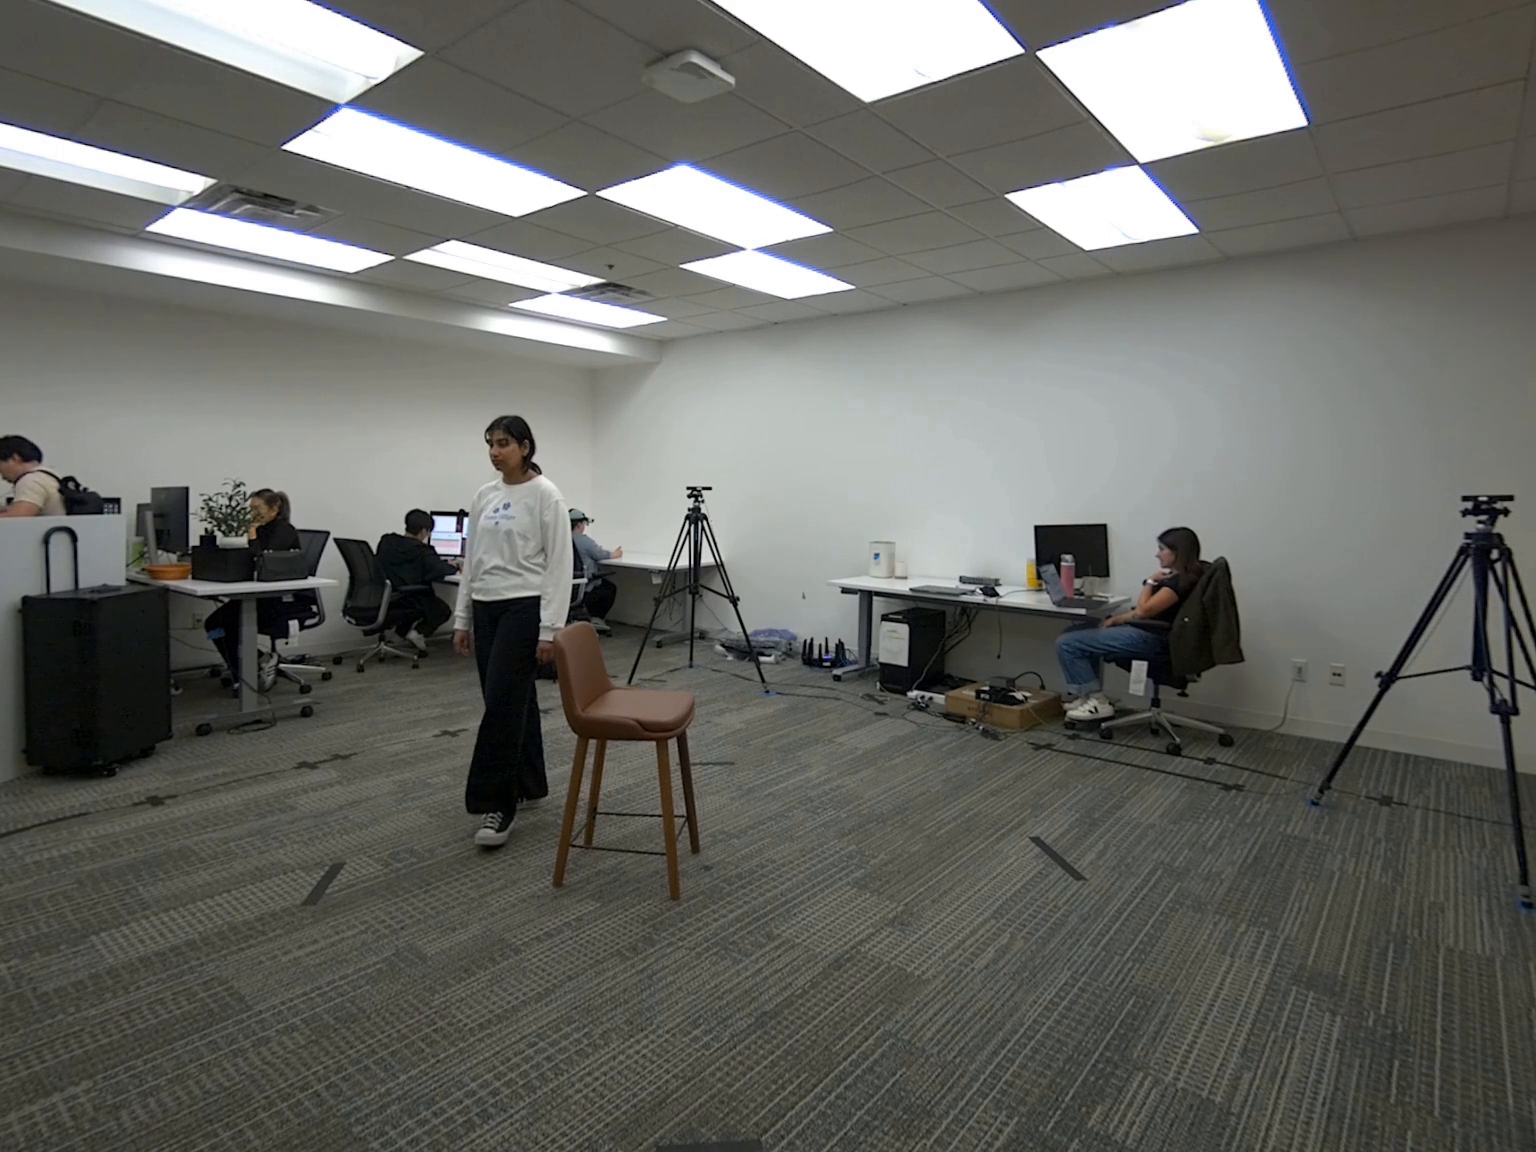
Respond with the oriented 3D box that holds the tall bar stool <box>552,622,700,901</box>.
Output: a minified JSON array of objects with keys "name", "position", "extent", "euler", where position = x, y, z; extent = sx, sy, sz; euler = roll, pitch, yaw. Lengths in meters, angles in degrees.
[{"name":"tall bar stool","position":[-0.504,0.631,3.068],"extent":[0.472,0.888,0.453],"euler":[0,3,9]}]
